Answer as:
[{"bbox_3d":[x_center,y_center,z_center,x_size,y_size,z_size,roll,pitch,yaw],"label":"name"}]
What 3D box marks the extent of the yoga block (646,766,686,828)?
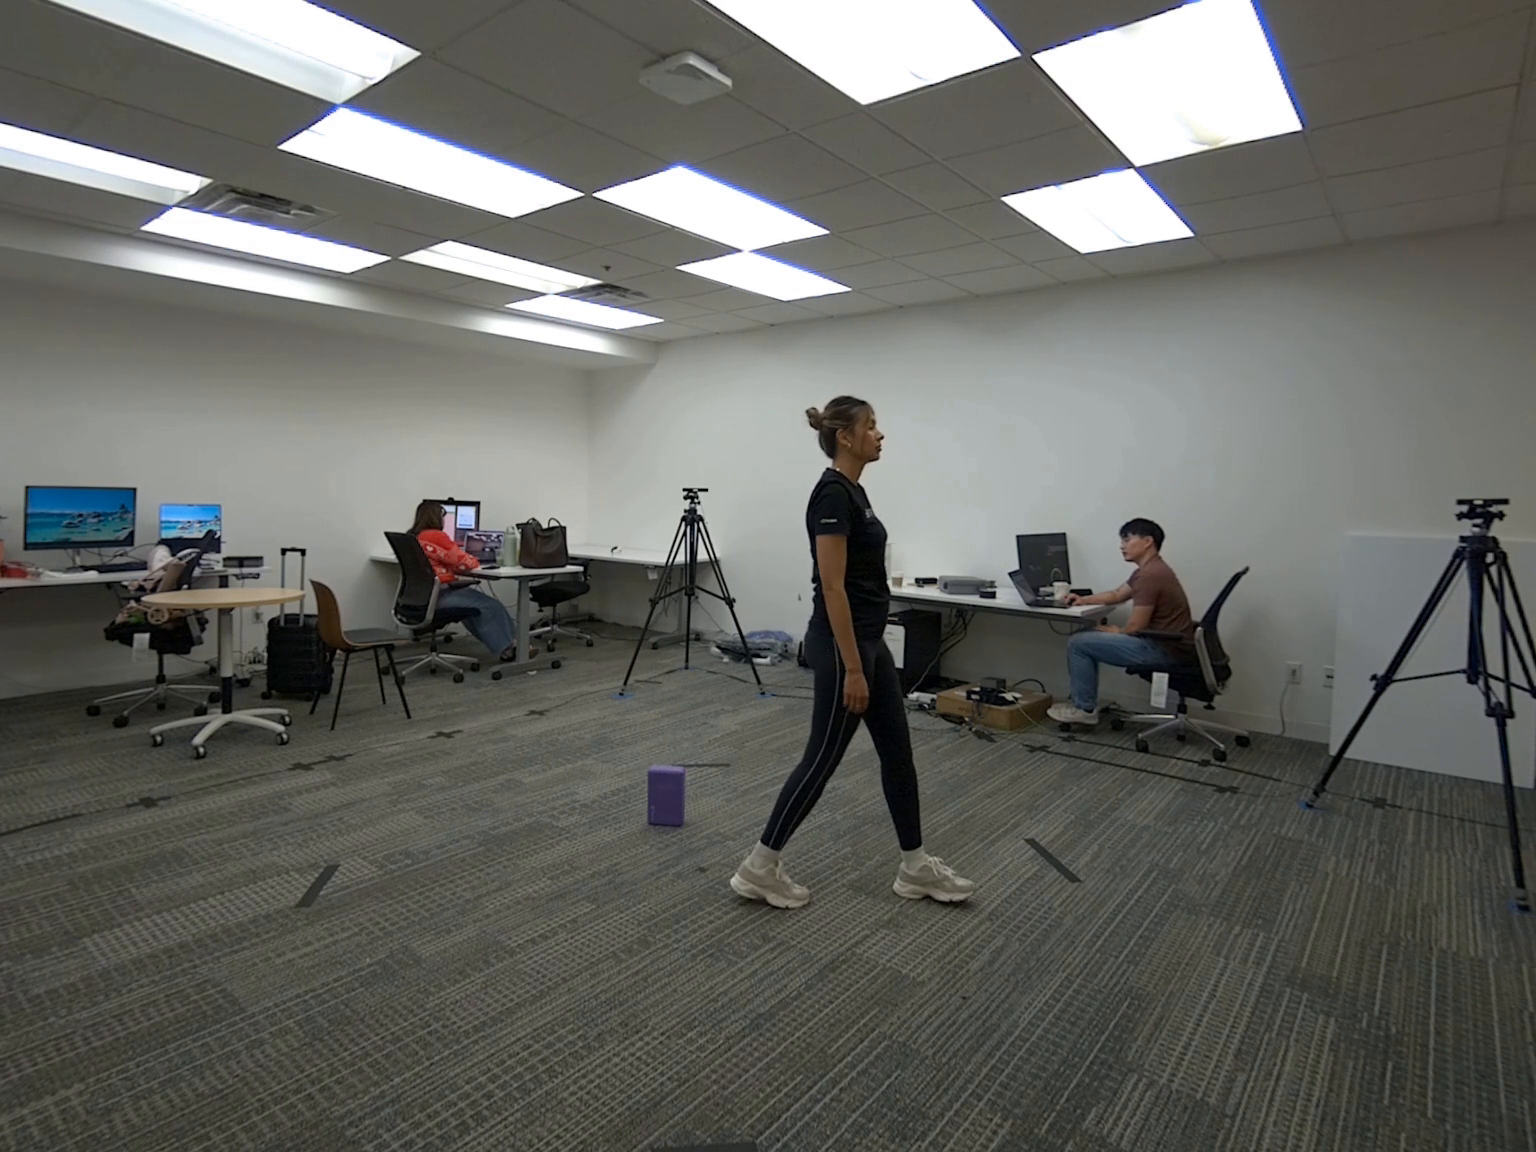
[{"bbox_3d":[-0.434,0.911,3.534,0.150,0.228,0.076,0,3,5],"label":"yoga block"}]
